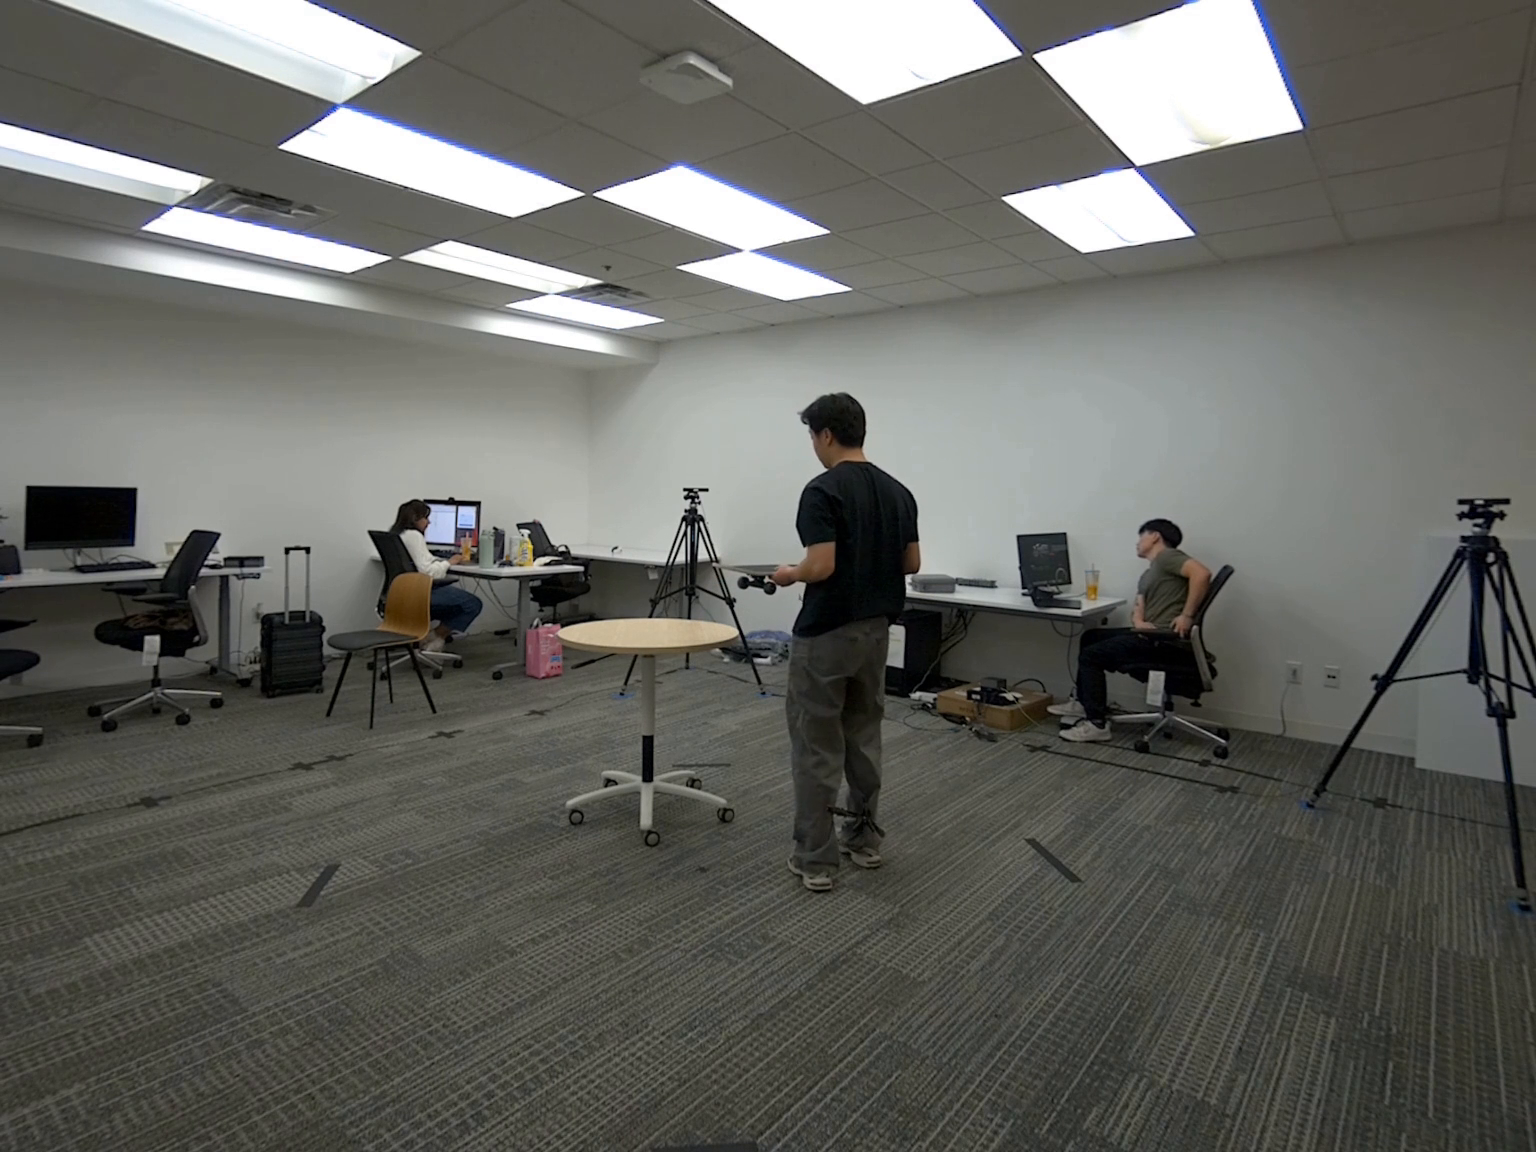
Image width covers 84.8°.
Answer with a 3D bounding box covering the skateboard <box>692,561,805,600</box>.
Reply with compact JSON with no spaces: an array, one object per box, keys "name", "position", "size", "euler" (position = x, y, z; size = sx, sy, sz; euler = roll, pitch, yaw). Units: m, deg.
[{"name":"skateboard","position":[0.082,0.005,3.366],"size":[0.763,0.110,0.200],"euler":[-2,6,-35]}]
